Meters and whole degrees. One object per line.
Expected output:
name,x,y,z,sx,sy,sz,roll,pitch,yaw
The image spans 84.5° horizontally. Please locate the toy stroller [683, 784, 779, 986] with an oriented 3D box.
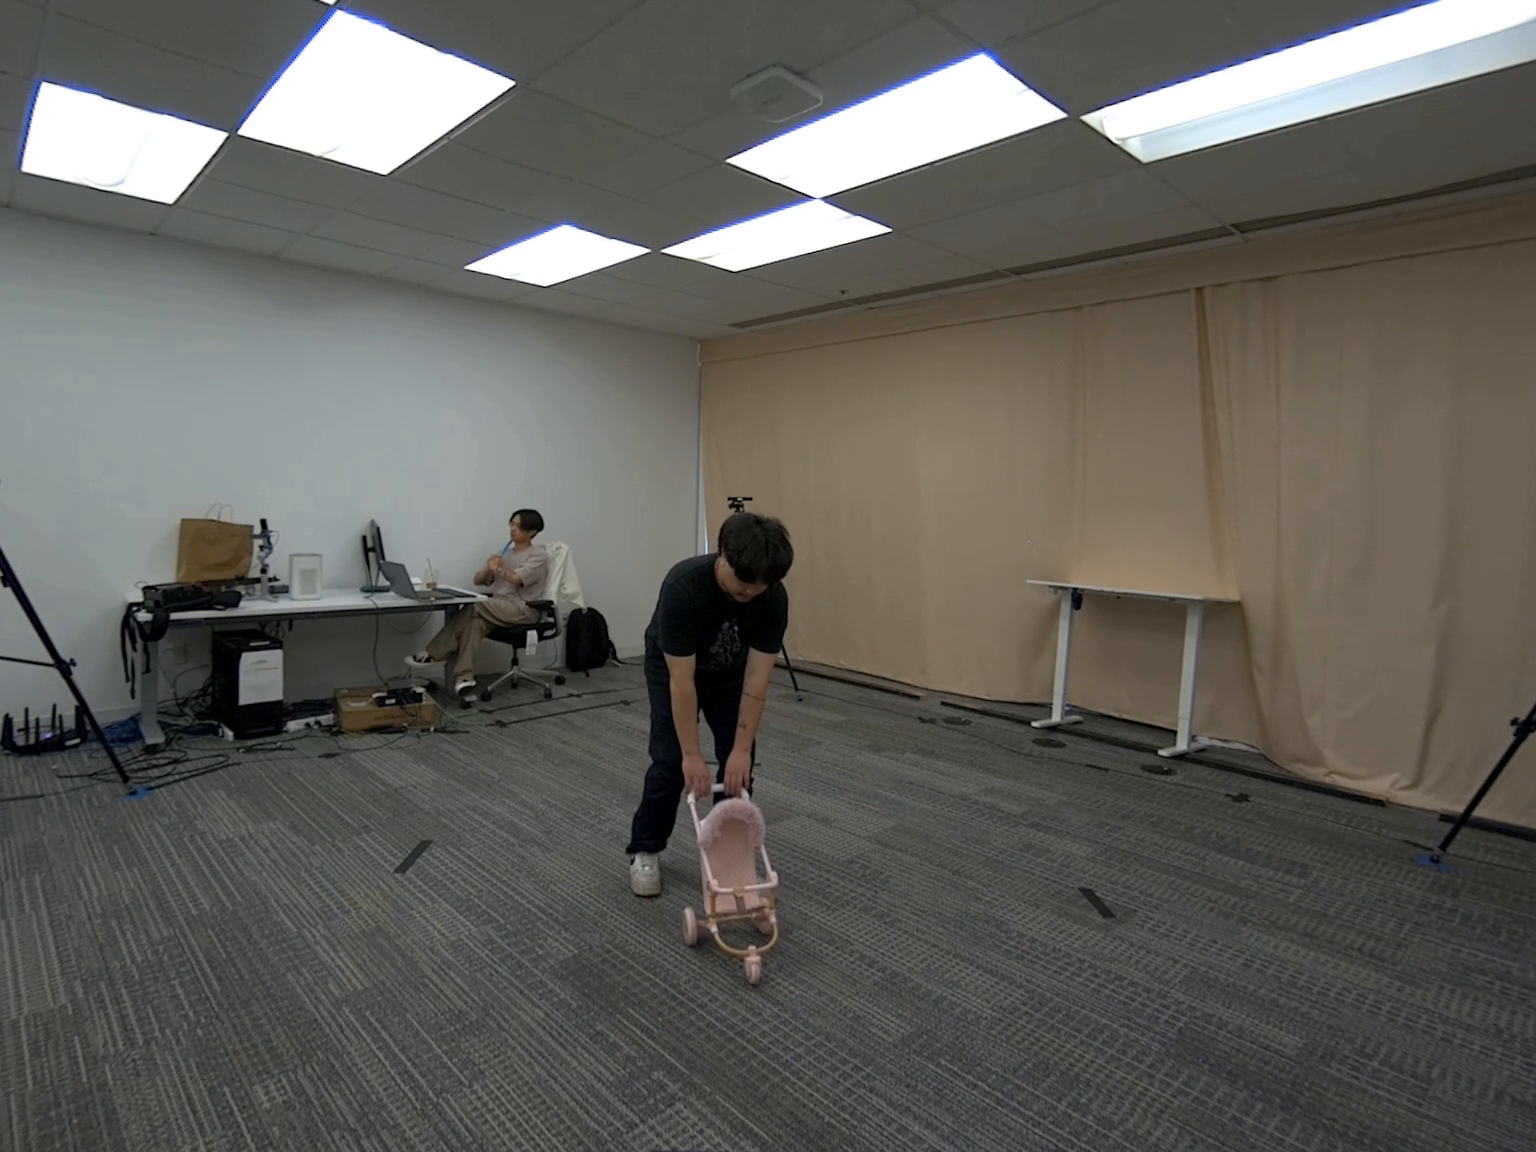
toy stroller,-0.111,0.929,2.585,0.278,0.539,0.342,0,-11,-16
